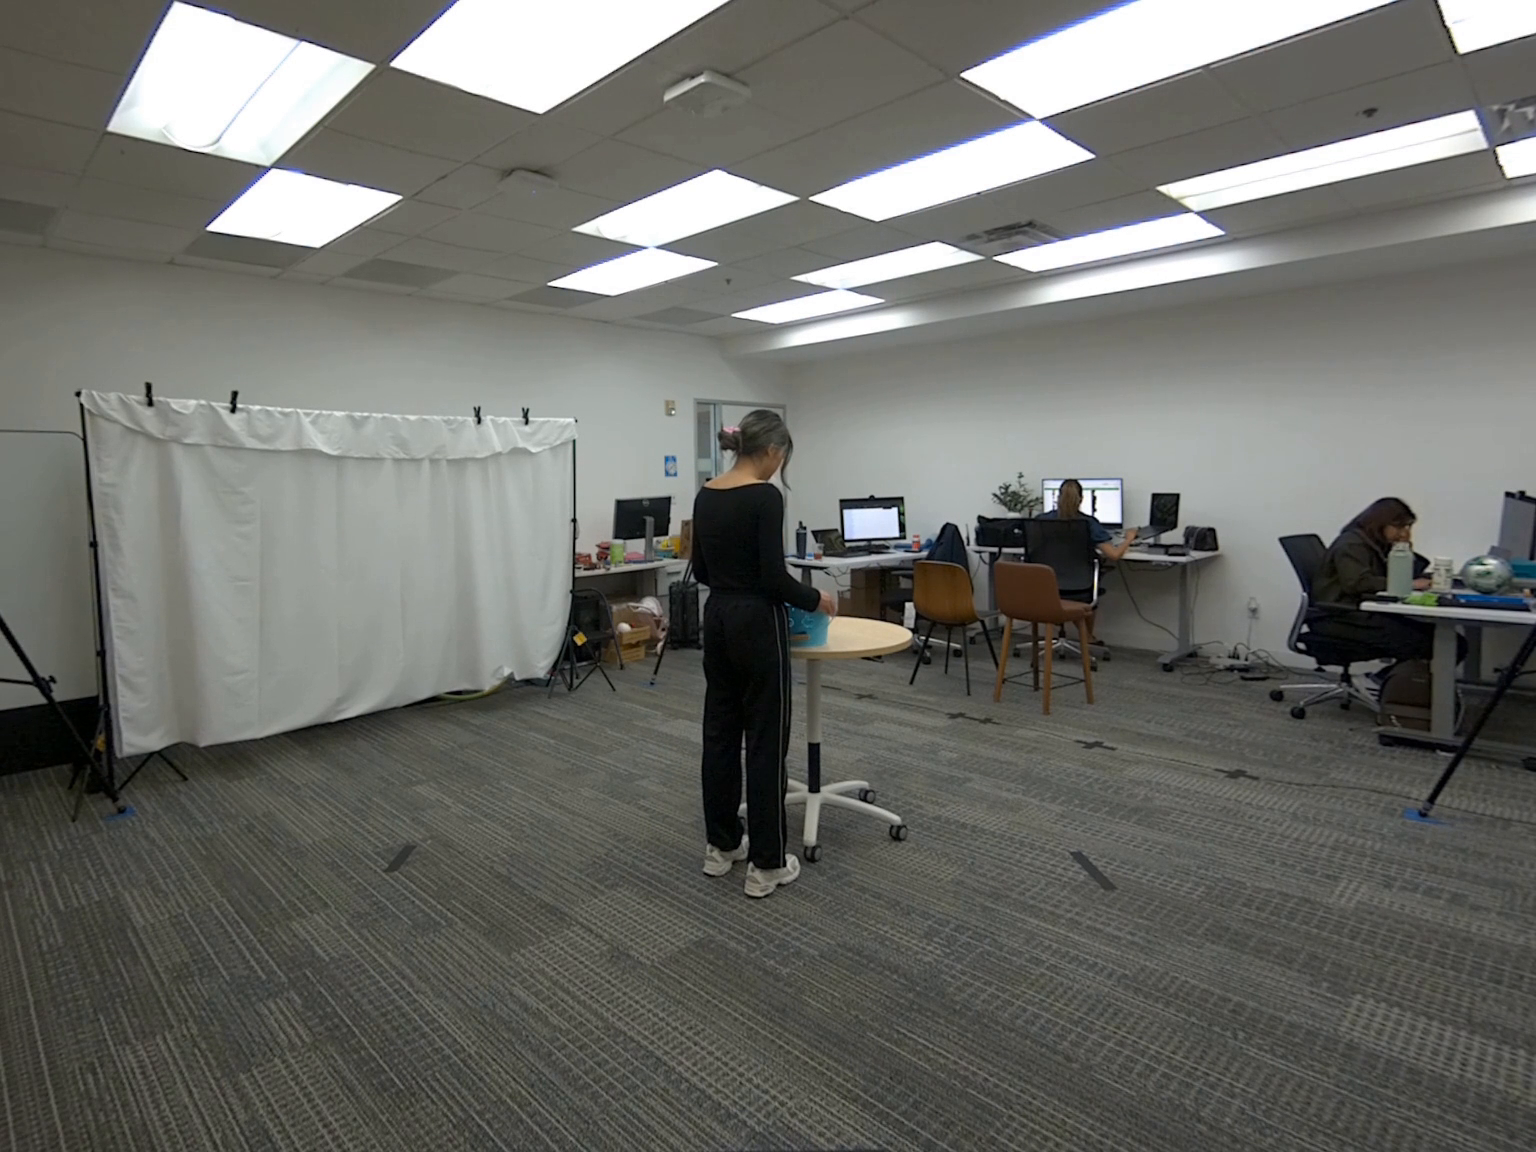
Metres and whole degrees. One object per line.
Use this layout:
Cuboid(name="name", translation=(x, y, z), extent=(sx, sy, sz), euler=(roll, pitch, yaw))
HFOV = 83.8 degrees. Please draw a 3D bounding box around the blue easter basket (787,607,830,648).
Cuboid(name="blue easter basket", translation=(0.130, 0.170, 3.174), extent=(0.243, 0.155, 0.245), euler=(-1, 7, -2))
